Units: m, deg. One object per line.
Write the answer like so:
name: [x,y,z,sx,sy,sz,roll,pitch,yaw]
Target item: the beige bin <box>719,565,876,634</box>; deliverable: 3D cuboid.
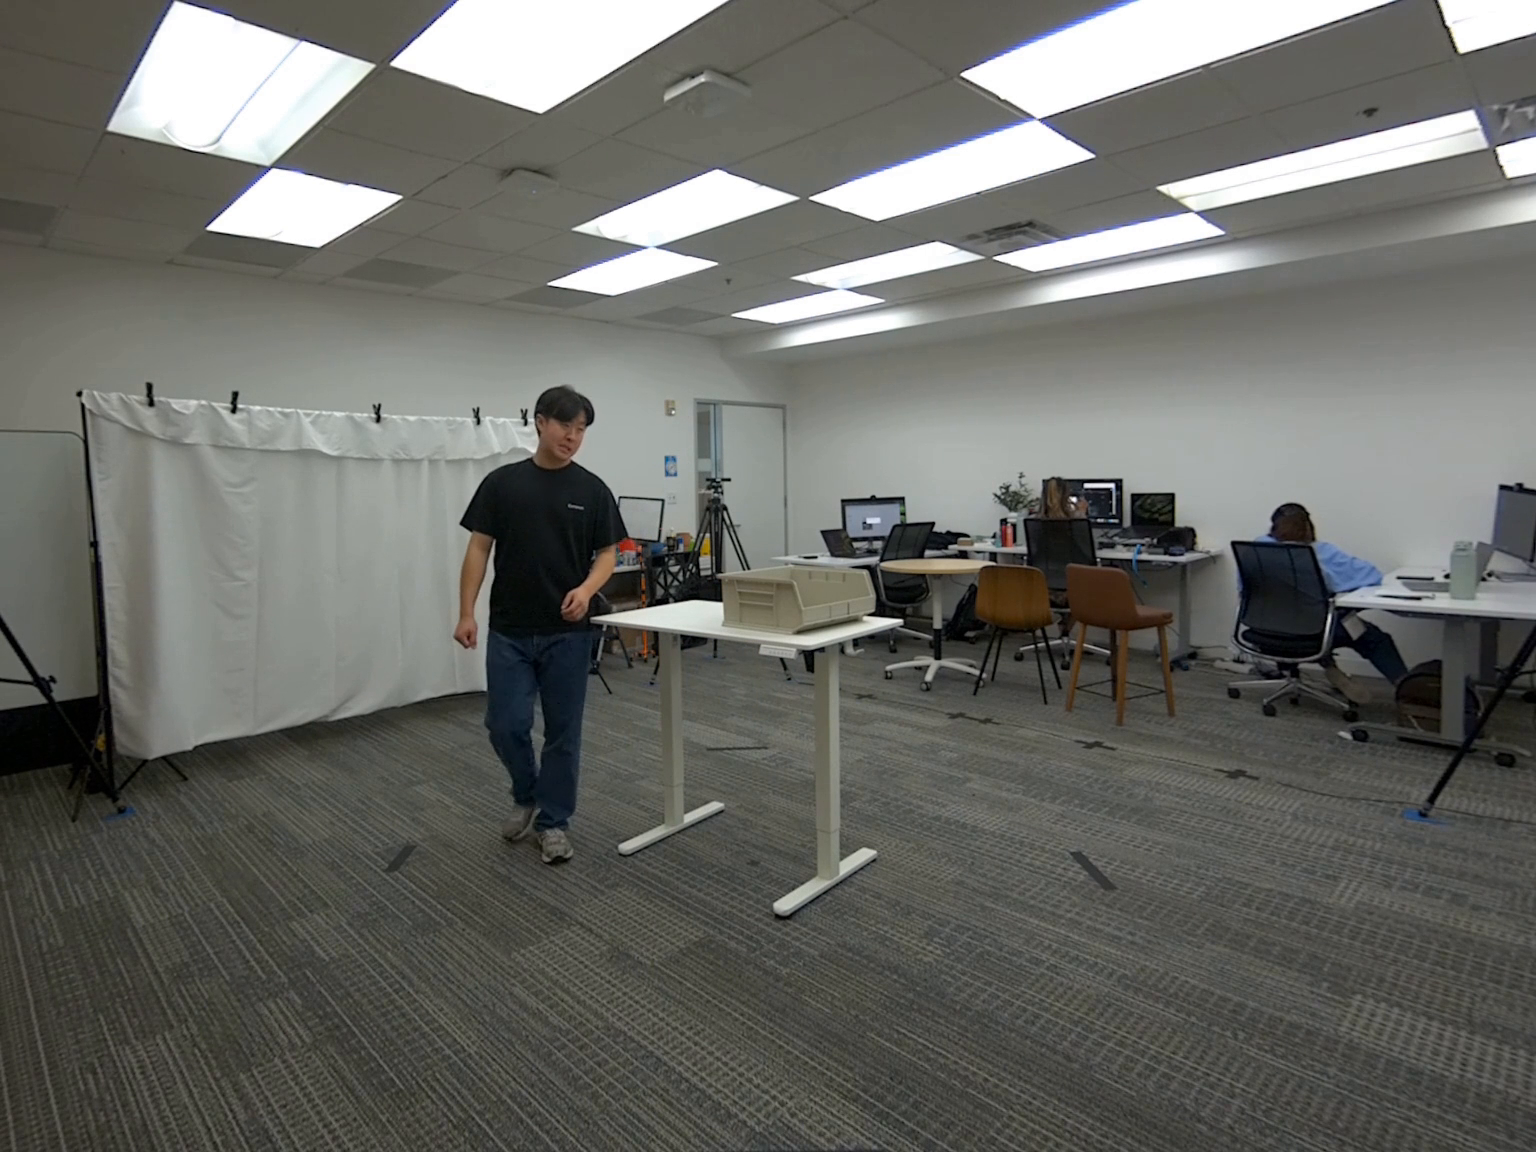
beige bin: [0.107,0.080,2.989,0.388,0.188,0.411,2,6,43]
